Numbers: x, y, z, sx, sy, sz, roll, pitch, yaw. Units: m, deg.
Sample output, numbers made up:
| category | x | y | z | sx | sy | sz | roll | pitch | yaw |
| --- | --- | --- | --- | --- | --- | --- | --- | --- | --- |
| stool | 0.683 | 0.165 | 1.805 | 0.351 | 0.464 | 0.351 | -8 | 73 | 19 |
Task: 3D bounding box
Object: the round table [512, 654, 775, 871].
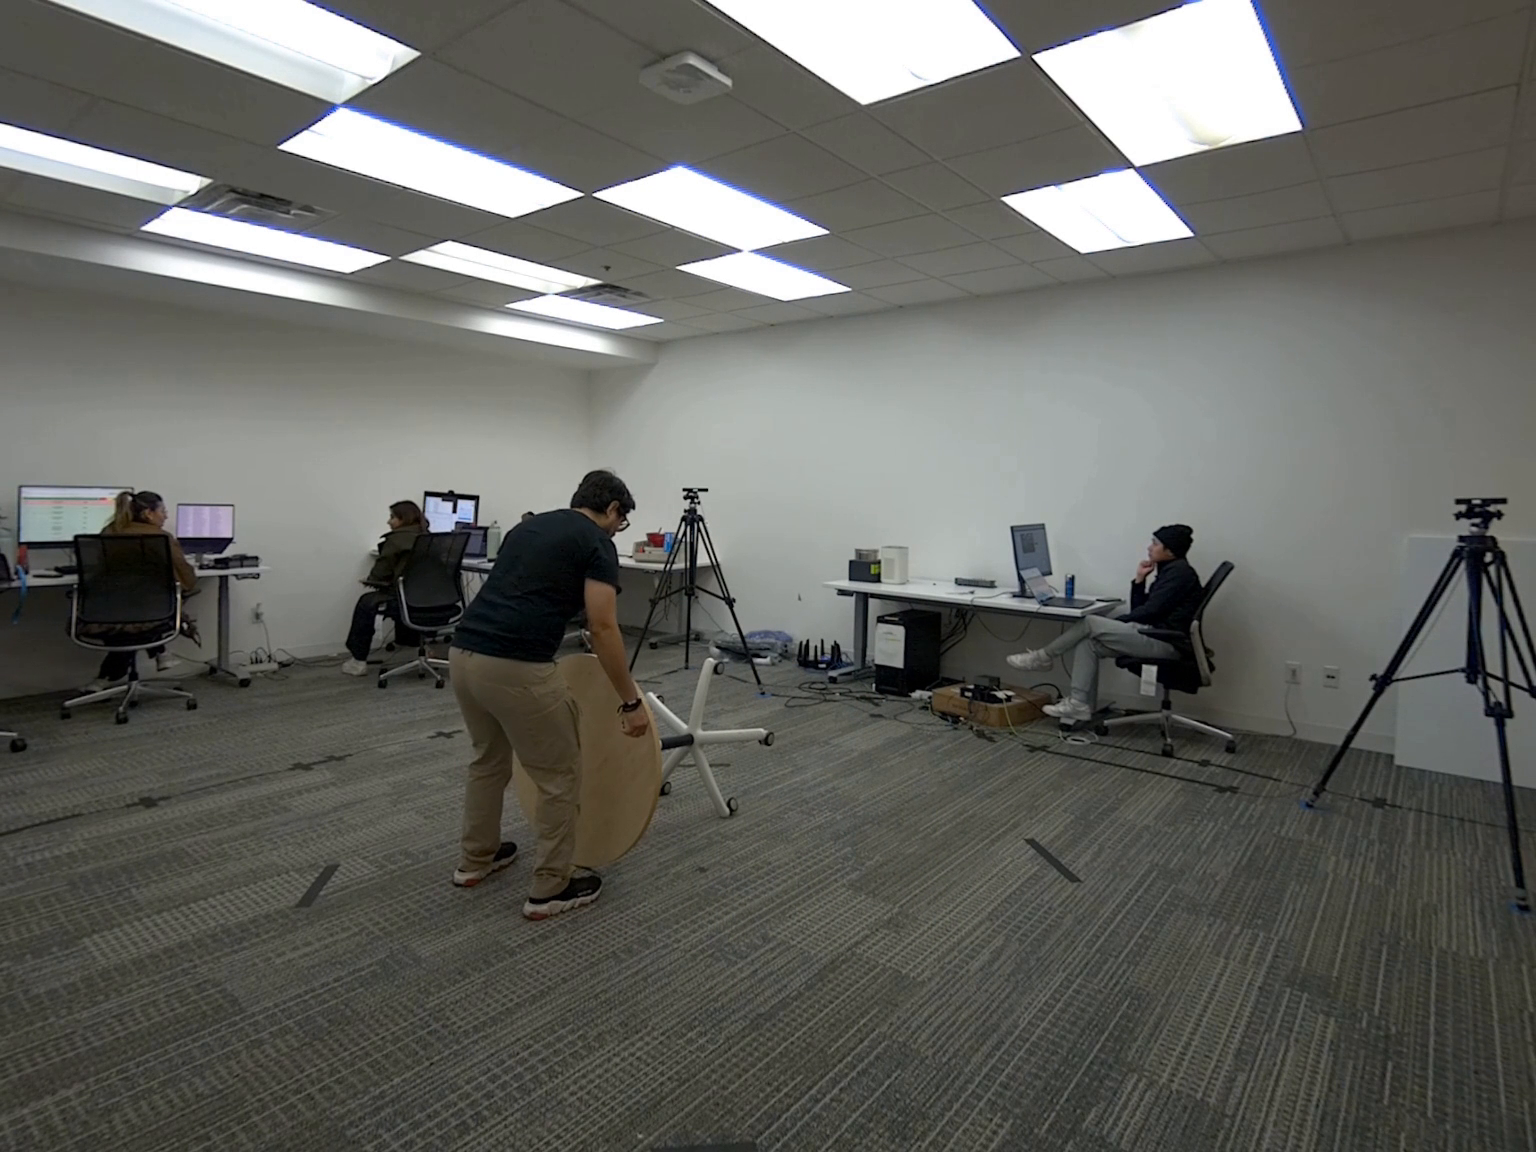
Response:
| category | x | y | z | sx | sy | sz | roll | pitch | yaw |
| --- | --- | --- | --- | --- | --- | --- | --- | --- | --- |
| round table | -0.491 | 0.696 | 3.465 | 0.811 | 0.787 | 0.760 | 4 | -2 | 36 |
